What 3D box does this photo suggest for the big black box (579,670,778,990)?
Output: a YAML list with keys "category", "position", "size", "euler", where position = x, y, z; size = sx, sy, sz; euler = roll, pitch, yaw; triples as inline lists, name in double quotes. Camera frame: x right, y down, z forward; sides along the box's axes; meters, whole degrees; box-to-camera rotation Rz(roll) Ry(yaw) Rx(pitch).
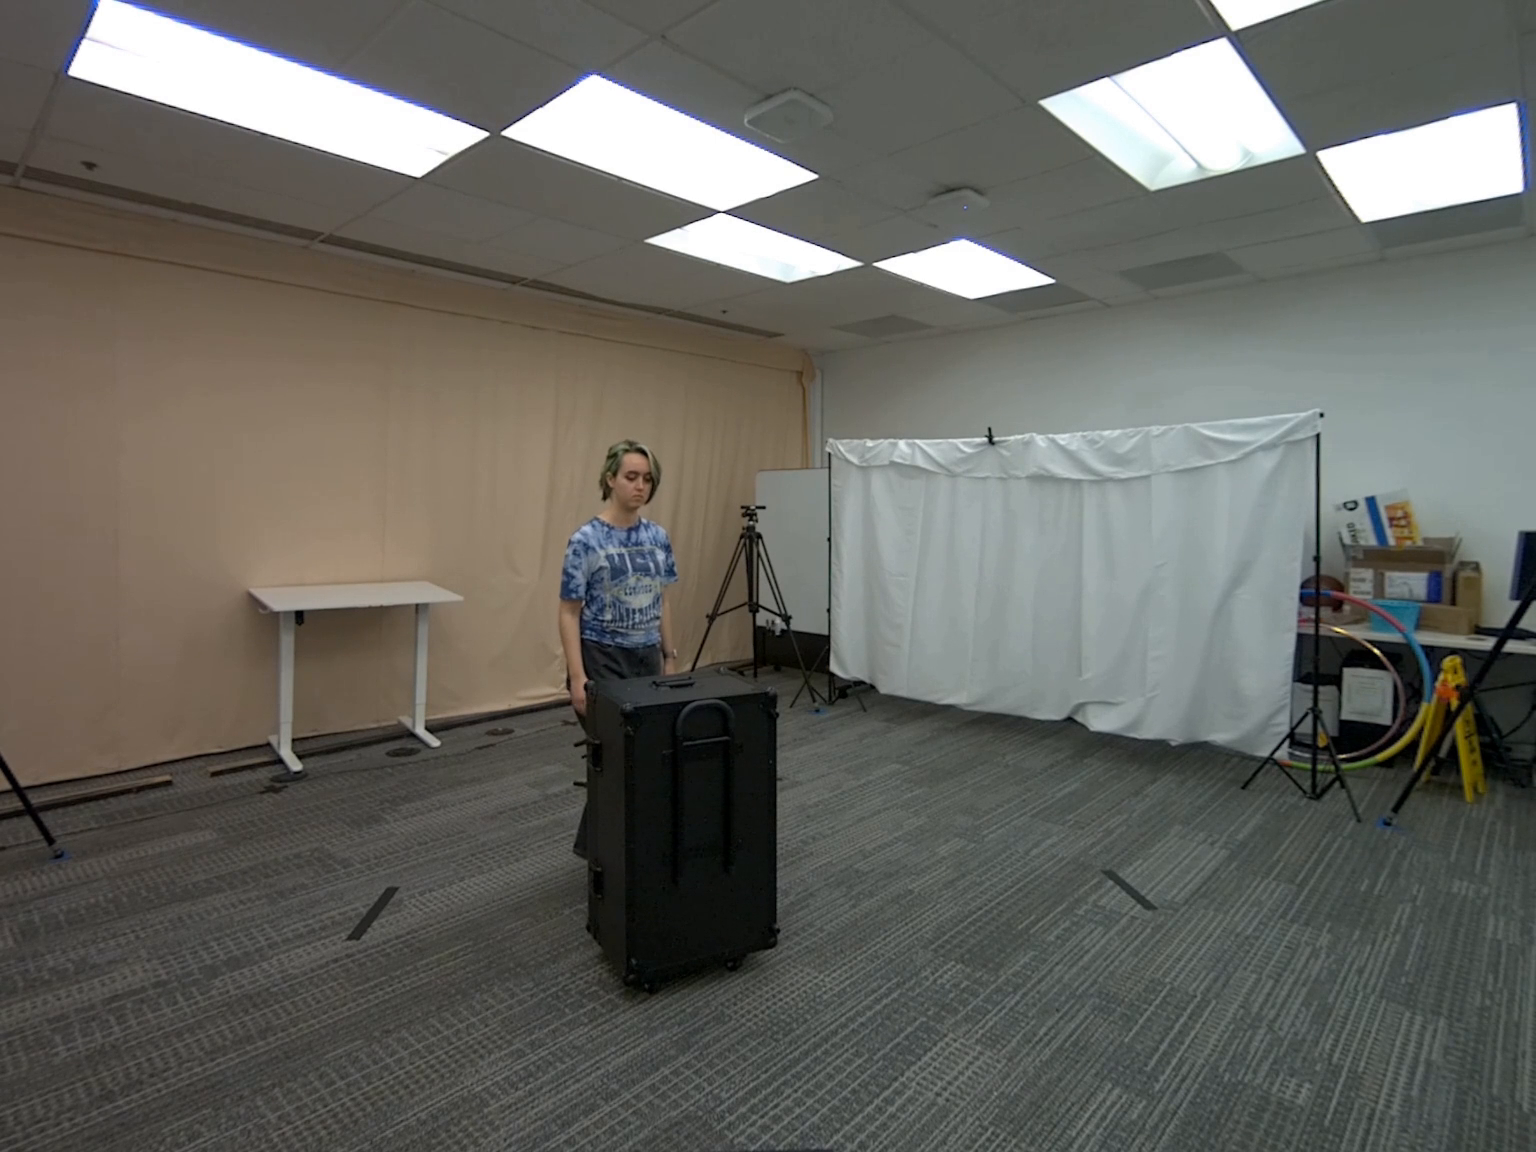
- category: "big black box"
  position: [-0.254, 0.757, 2.550]
  size: [0.508, 0.859, 0.407]
  euler: [-2, 5, -27]
